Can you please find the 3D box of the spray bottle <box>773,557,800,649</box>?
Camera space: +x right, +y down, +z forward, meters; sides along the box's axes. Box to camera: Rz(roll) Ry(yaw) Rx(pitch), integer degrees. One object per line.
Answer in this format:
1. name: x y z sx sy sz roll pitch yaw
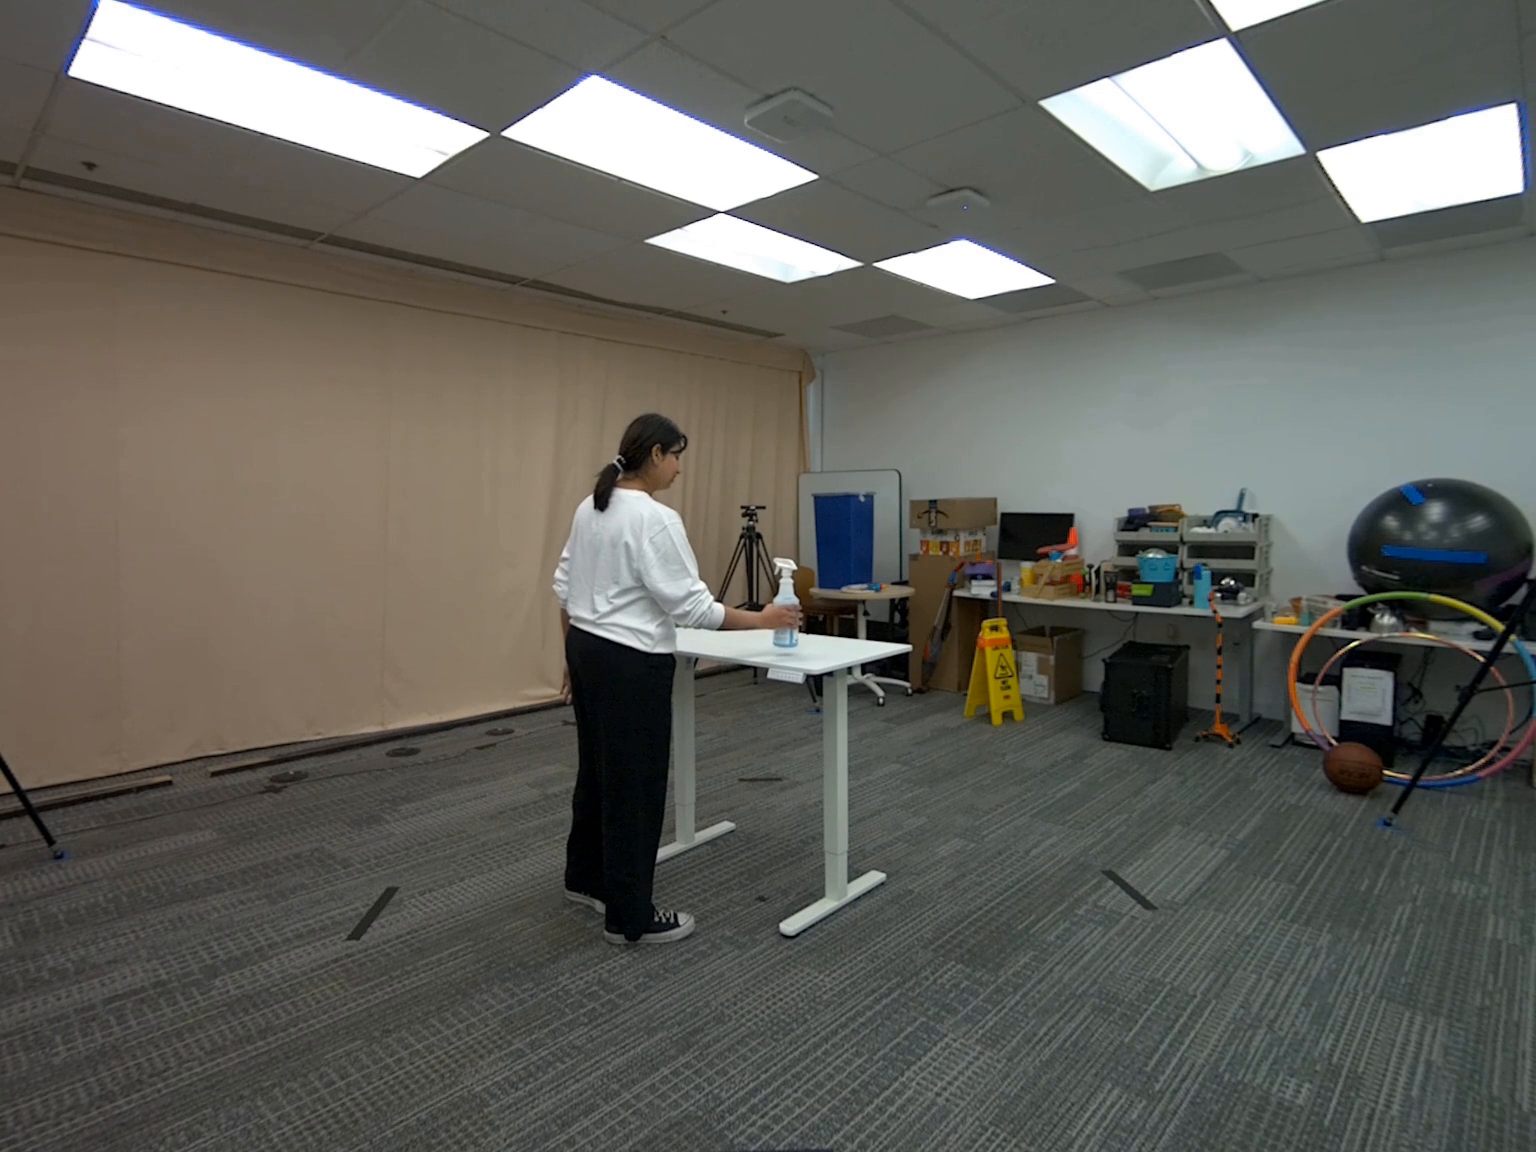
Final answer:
1. spray bottle: 0.069 0.090 2.842 0.085 0.297 0.092 -2 3 -26
